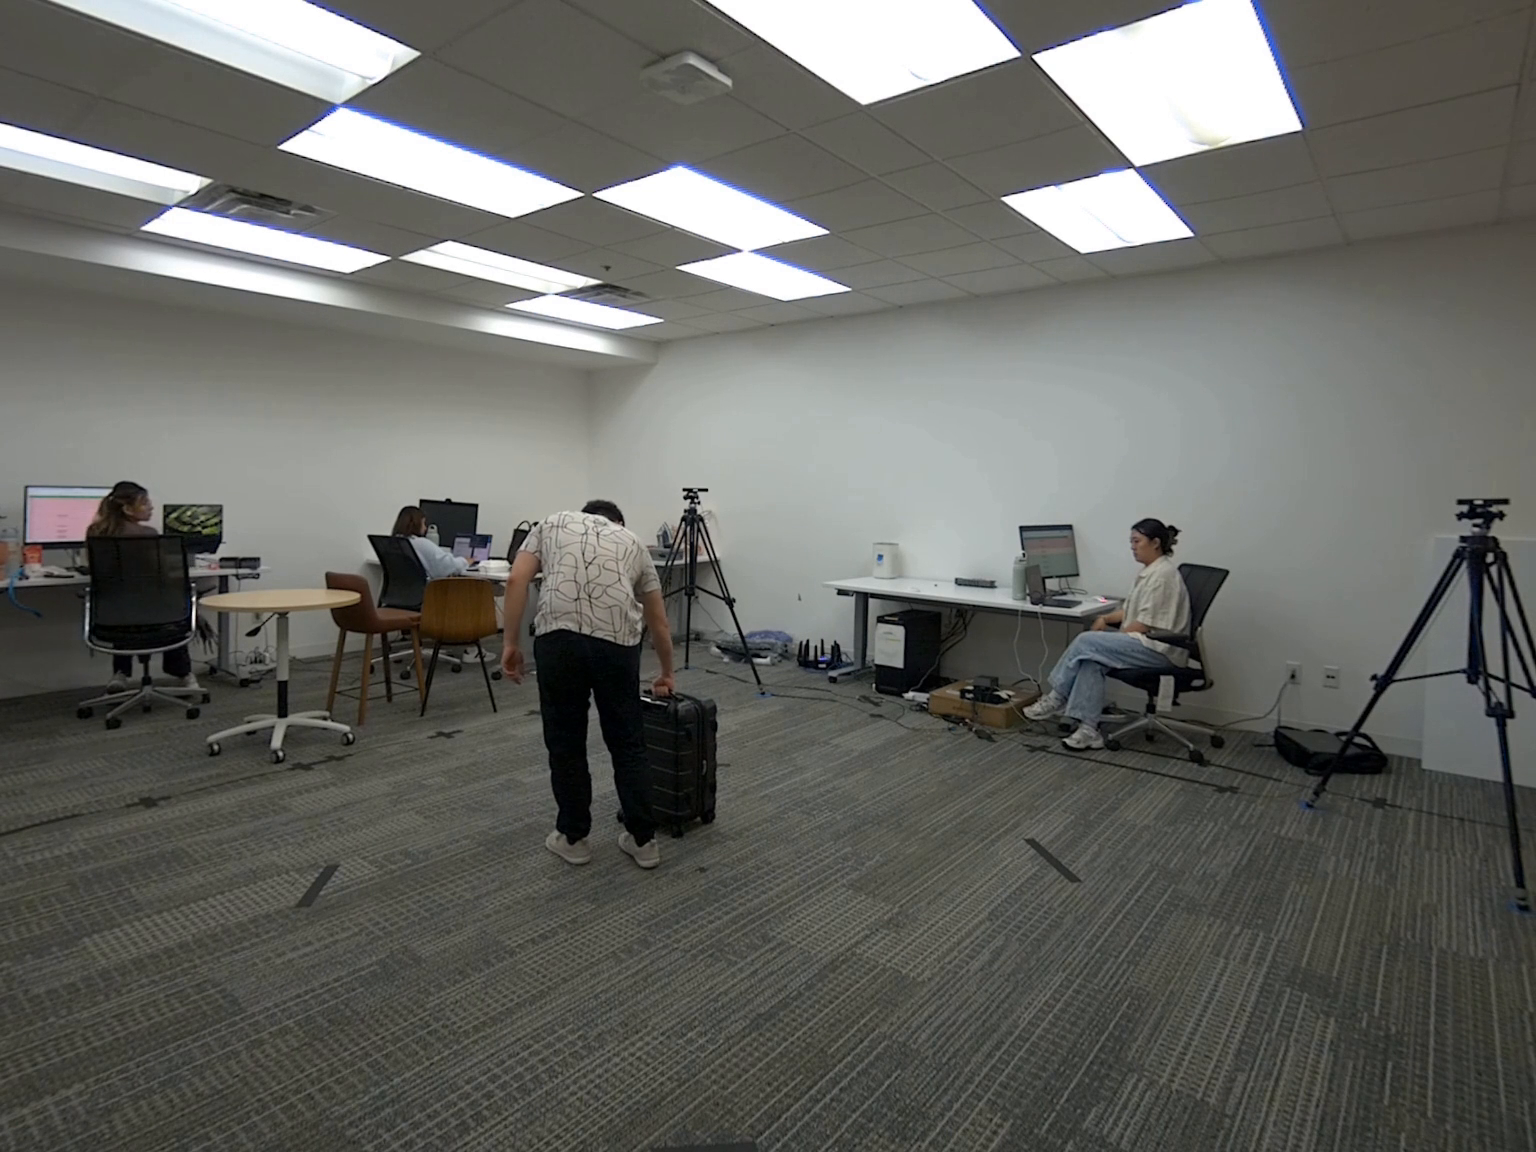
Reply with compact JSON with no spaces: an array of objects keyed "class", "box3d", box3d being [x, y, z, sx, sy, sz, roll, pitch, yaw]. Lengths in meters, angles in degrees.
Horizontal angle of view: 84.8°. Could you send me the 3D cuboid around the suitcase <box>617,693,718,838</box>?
[{"class":"suitcase","box3d":[-0.420,0.747,3.550,0.388,0.548,0.241,4,4,37]}]
